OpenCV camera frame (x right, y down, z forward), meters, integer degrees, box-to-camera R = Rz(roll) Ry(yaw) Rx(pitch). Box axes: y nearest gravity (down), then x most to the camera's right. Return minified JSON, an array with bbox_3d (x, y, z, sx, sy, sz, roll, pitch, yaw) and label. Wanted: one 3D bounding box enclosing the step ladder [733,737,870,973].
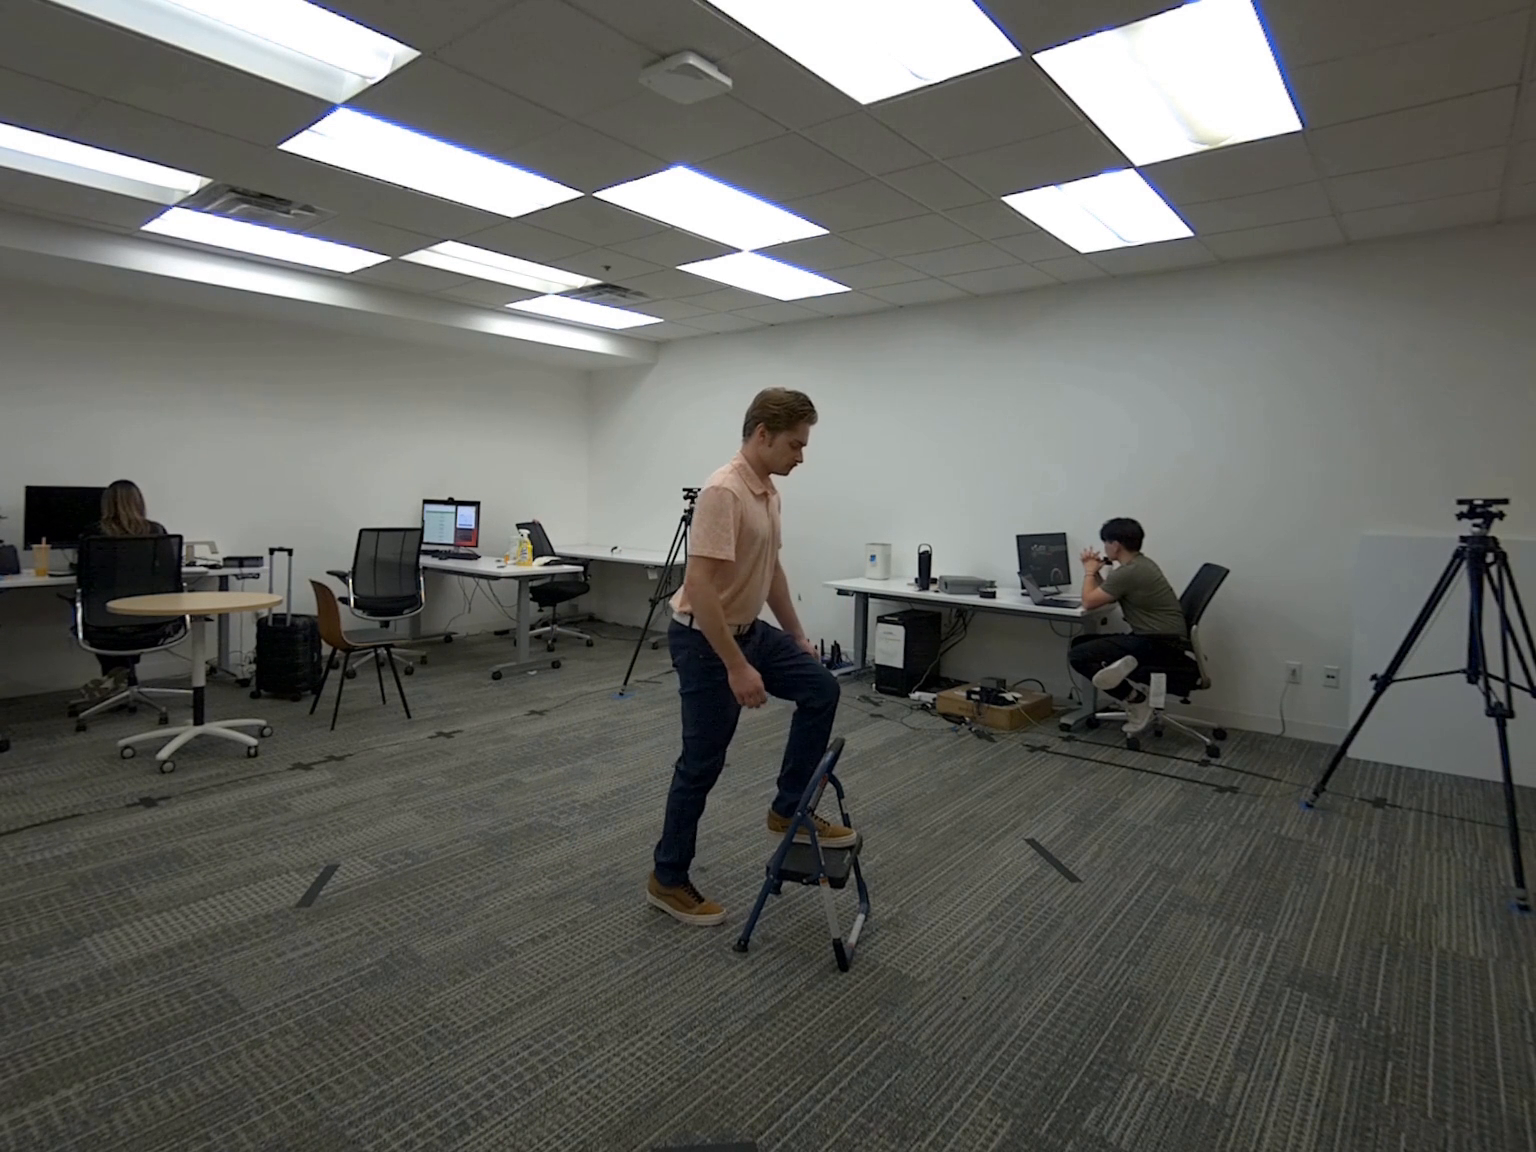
[{"bbox_3d":[0.124,0.816,2.685,0.356,0.604,0.424,3,4,16],"label":"step ladder"}]
